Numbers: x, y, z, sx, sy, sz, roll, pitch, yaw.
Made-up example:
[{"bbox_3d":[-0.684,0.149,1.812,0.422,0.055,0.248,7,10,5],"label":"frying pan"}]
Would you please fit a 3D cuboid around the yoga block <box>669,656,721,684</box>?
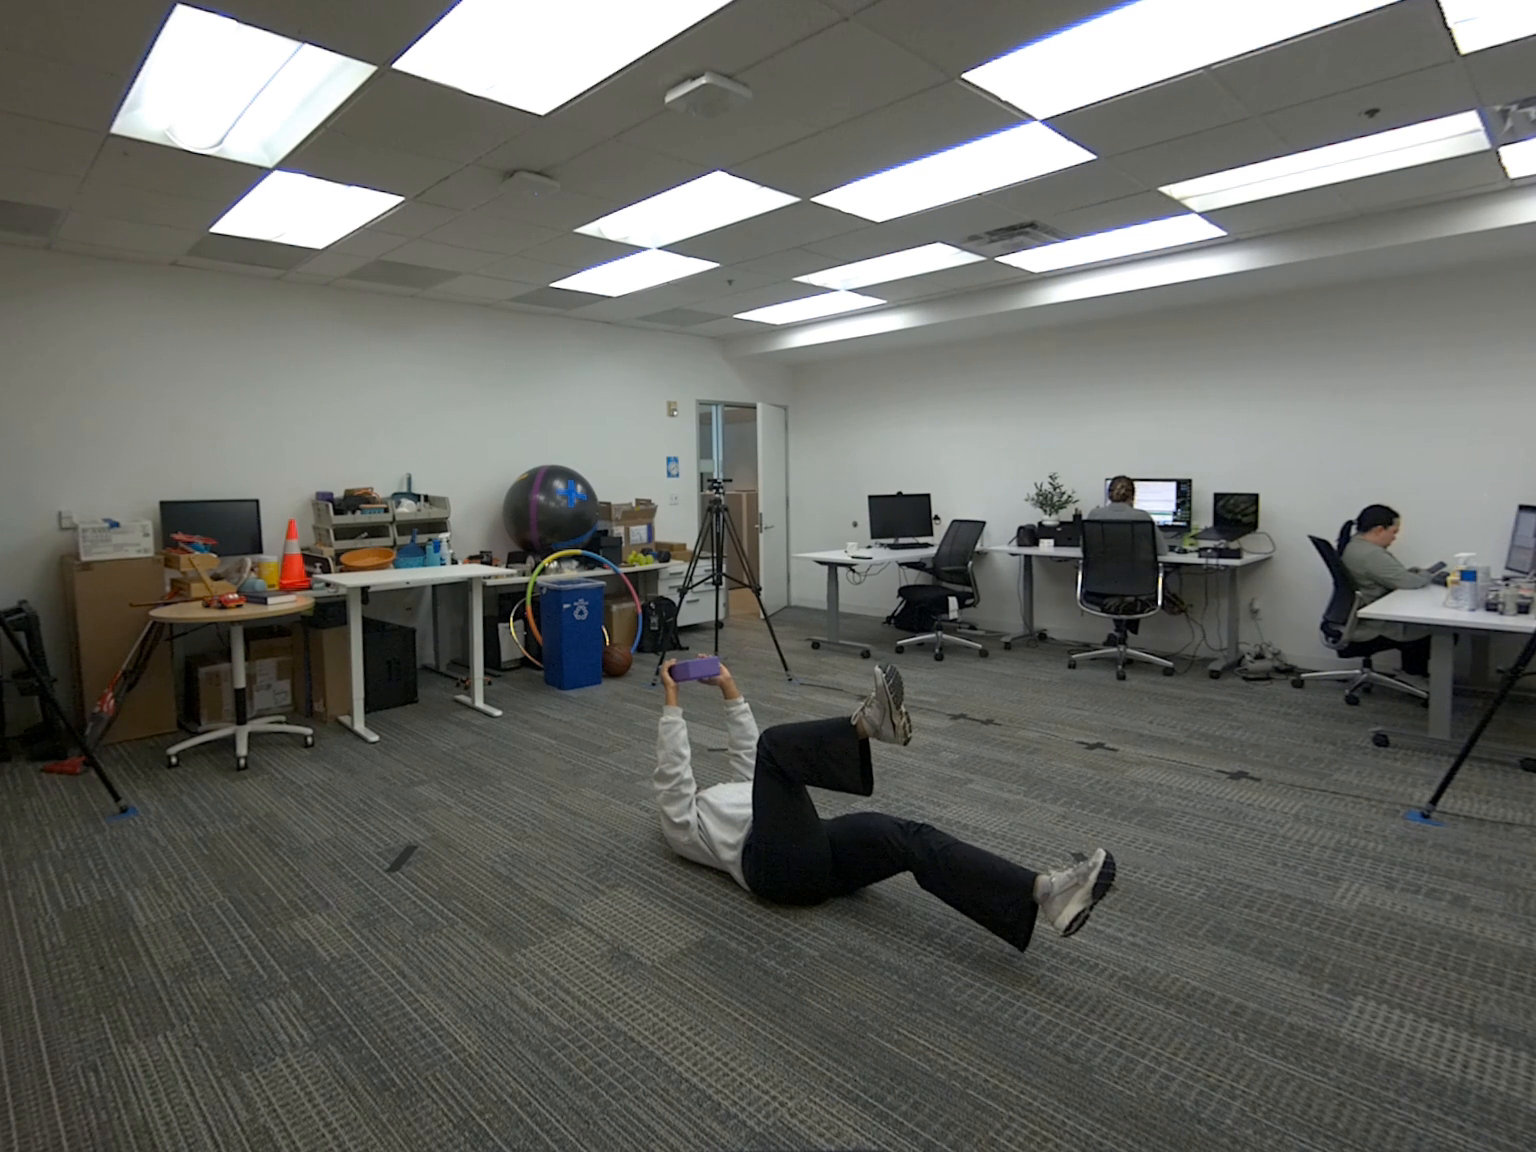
[{"bbox_3d":[-0.311,0.370,3.336,0.145,0.077,0.233,-4,-8,-34],"label":"yoga block"}]
